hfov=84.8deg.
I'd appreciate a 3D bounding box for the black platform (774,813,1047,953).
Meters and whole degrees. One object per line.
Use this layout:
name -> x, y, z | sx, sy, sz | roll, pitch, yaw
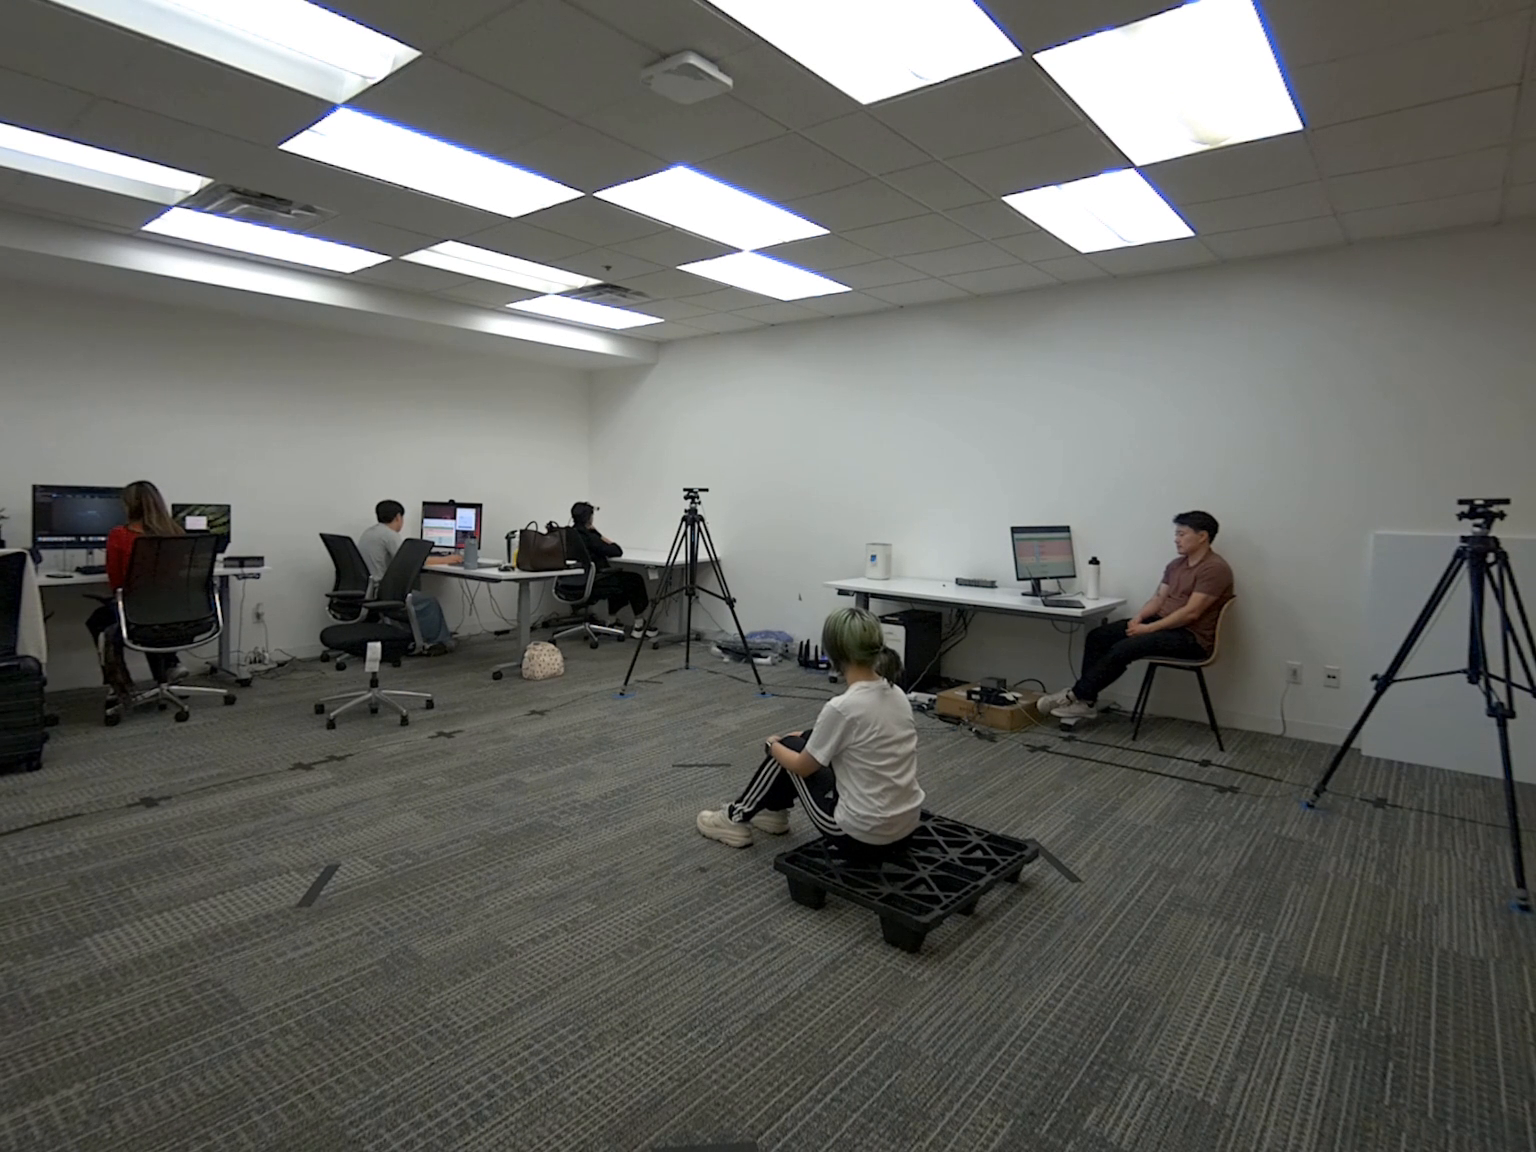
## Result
black platform -> 0.485, 1.029, 2.983 | 0.626, 0.143, 0.781 | 6, 6, 43
